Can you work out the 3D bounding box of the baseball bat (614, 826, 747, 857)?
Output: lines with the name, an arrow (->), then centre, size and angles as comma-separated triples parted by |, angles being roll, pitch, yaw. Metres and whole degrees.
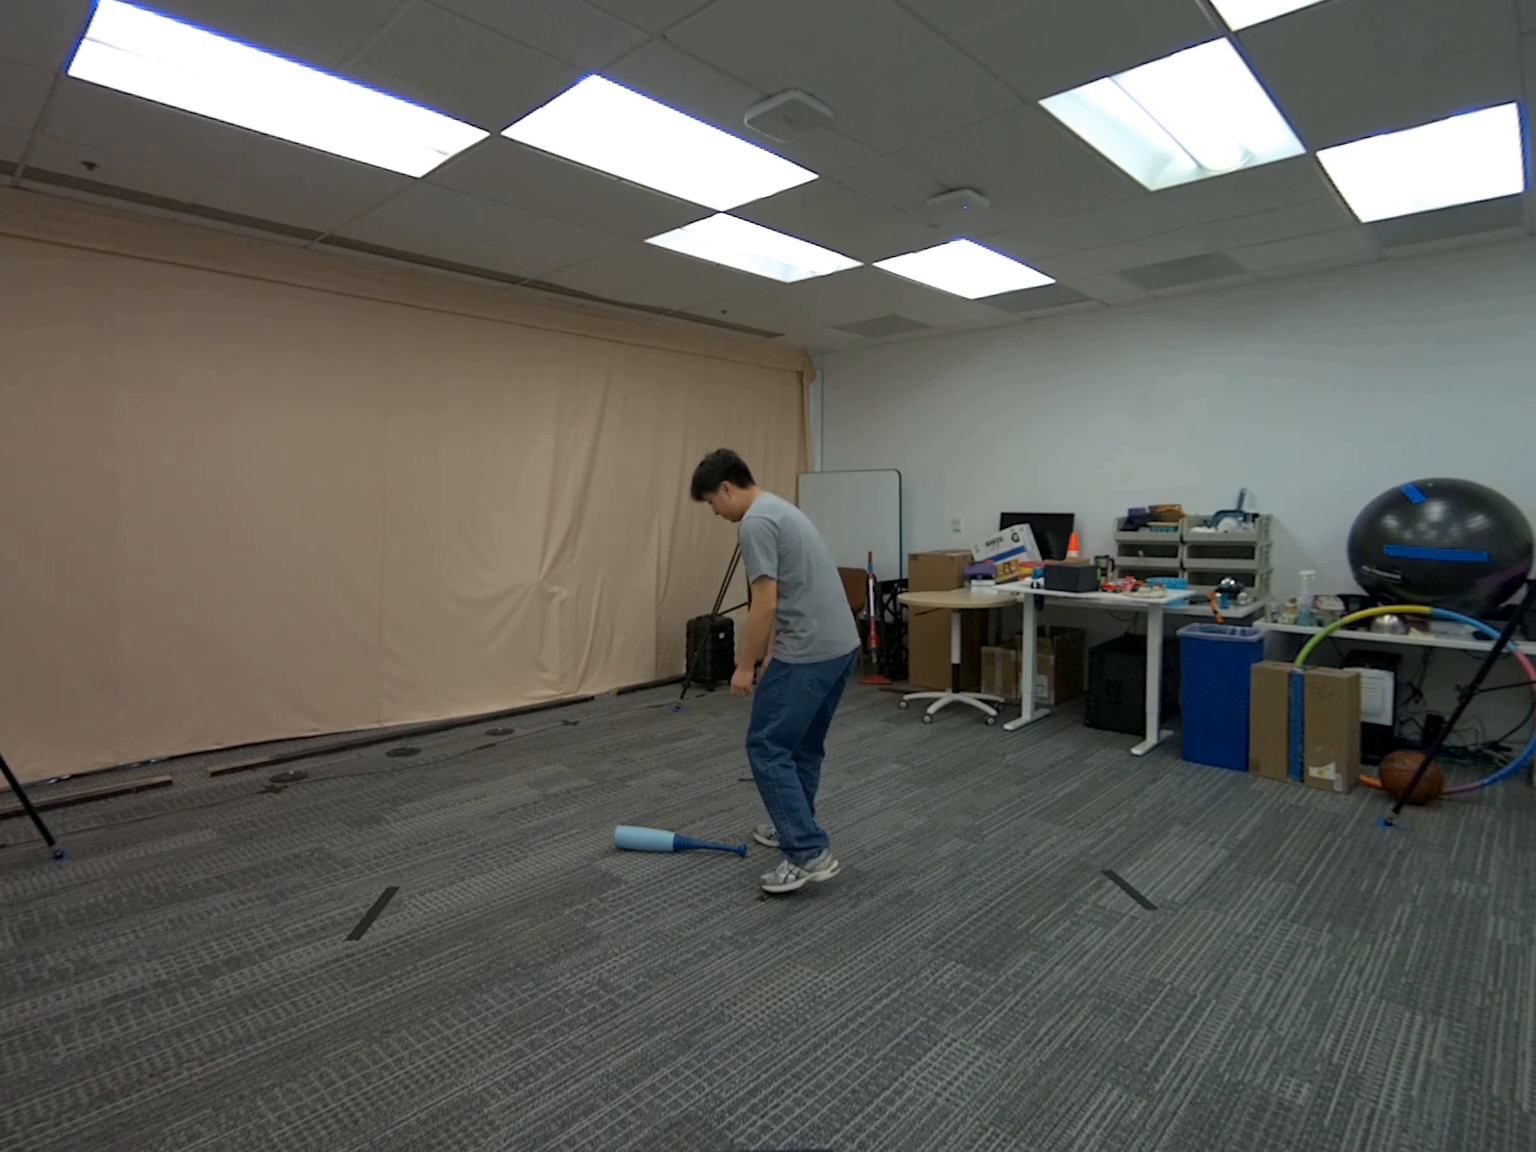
baseball bat -> -0.353, 1.079, 3.390 | 0.548, 0.089, 0.088 | 3, 4, 9
